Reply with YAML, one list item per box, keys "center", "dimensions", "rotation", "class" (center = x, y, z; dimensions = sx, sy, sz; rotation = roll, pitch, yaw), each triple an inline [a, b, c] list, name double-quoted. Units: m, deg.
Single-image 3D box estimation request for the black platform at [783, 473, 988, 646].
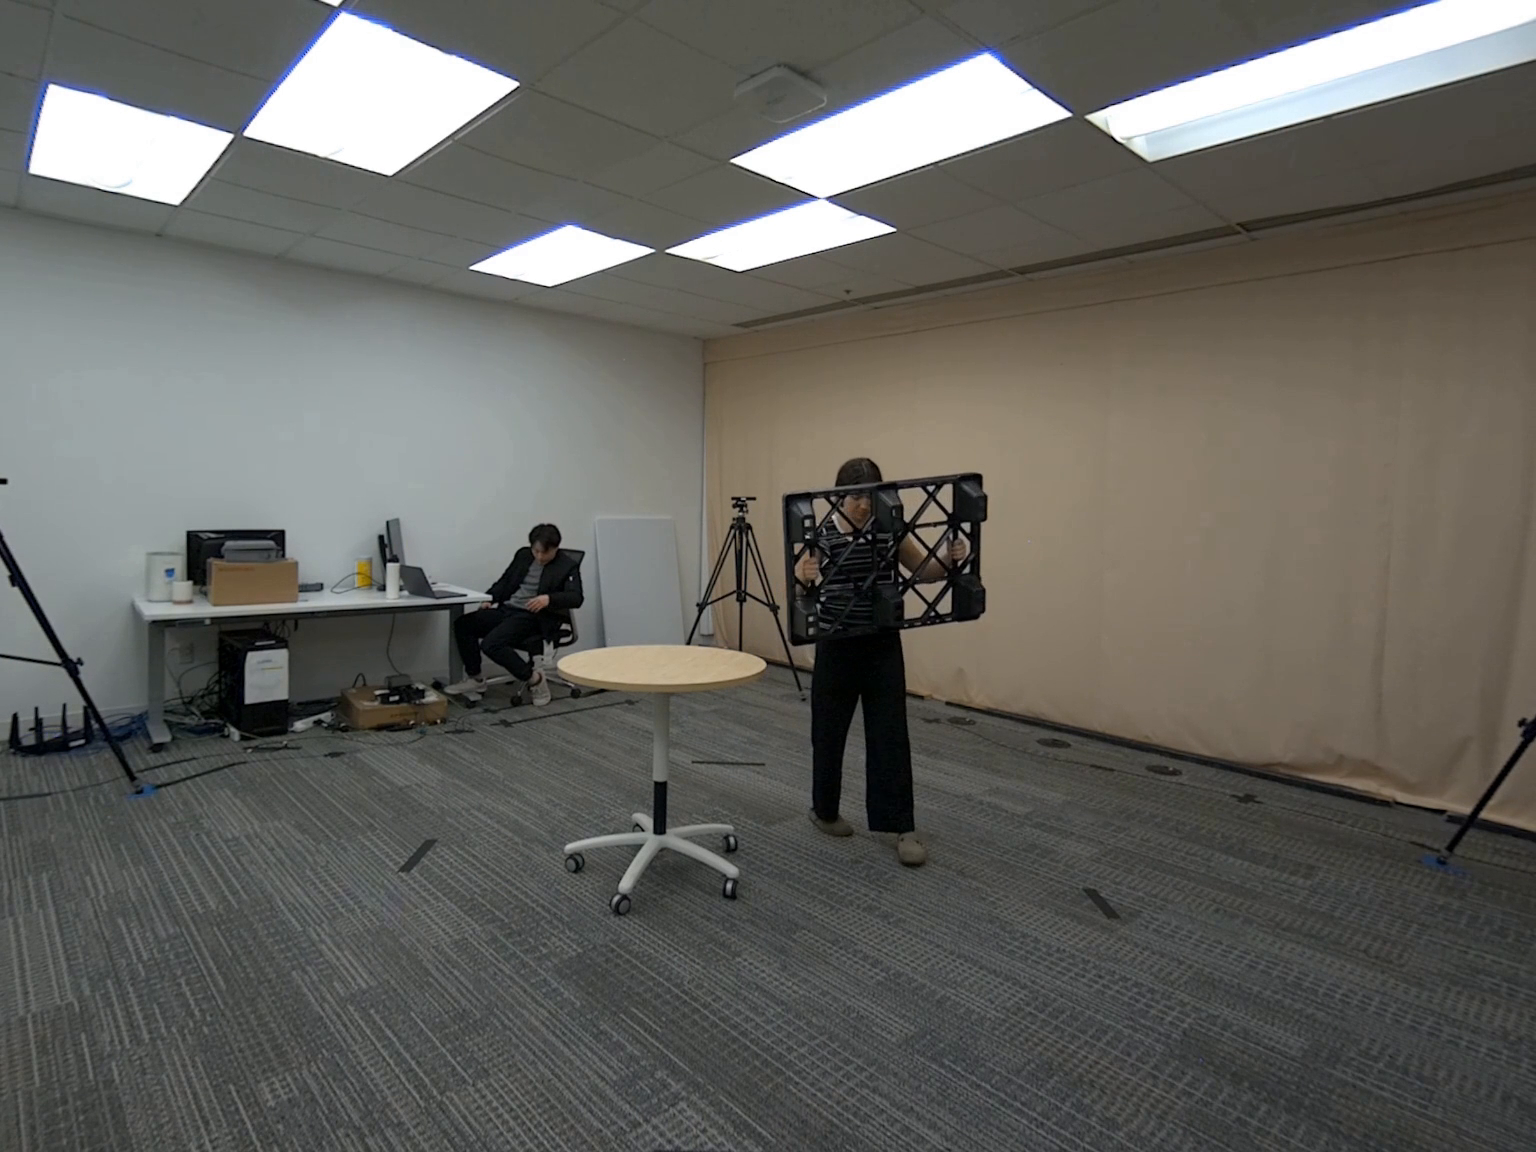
- center: [0.459, -0.058, 3.199]
  dimensions: [0.799, 0.598, 0.146]
  rotation: [-7, 15, -12]
  class: "black platform"
